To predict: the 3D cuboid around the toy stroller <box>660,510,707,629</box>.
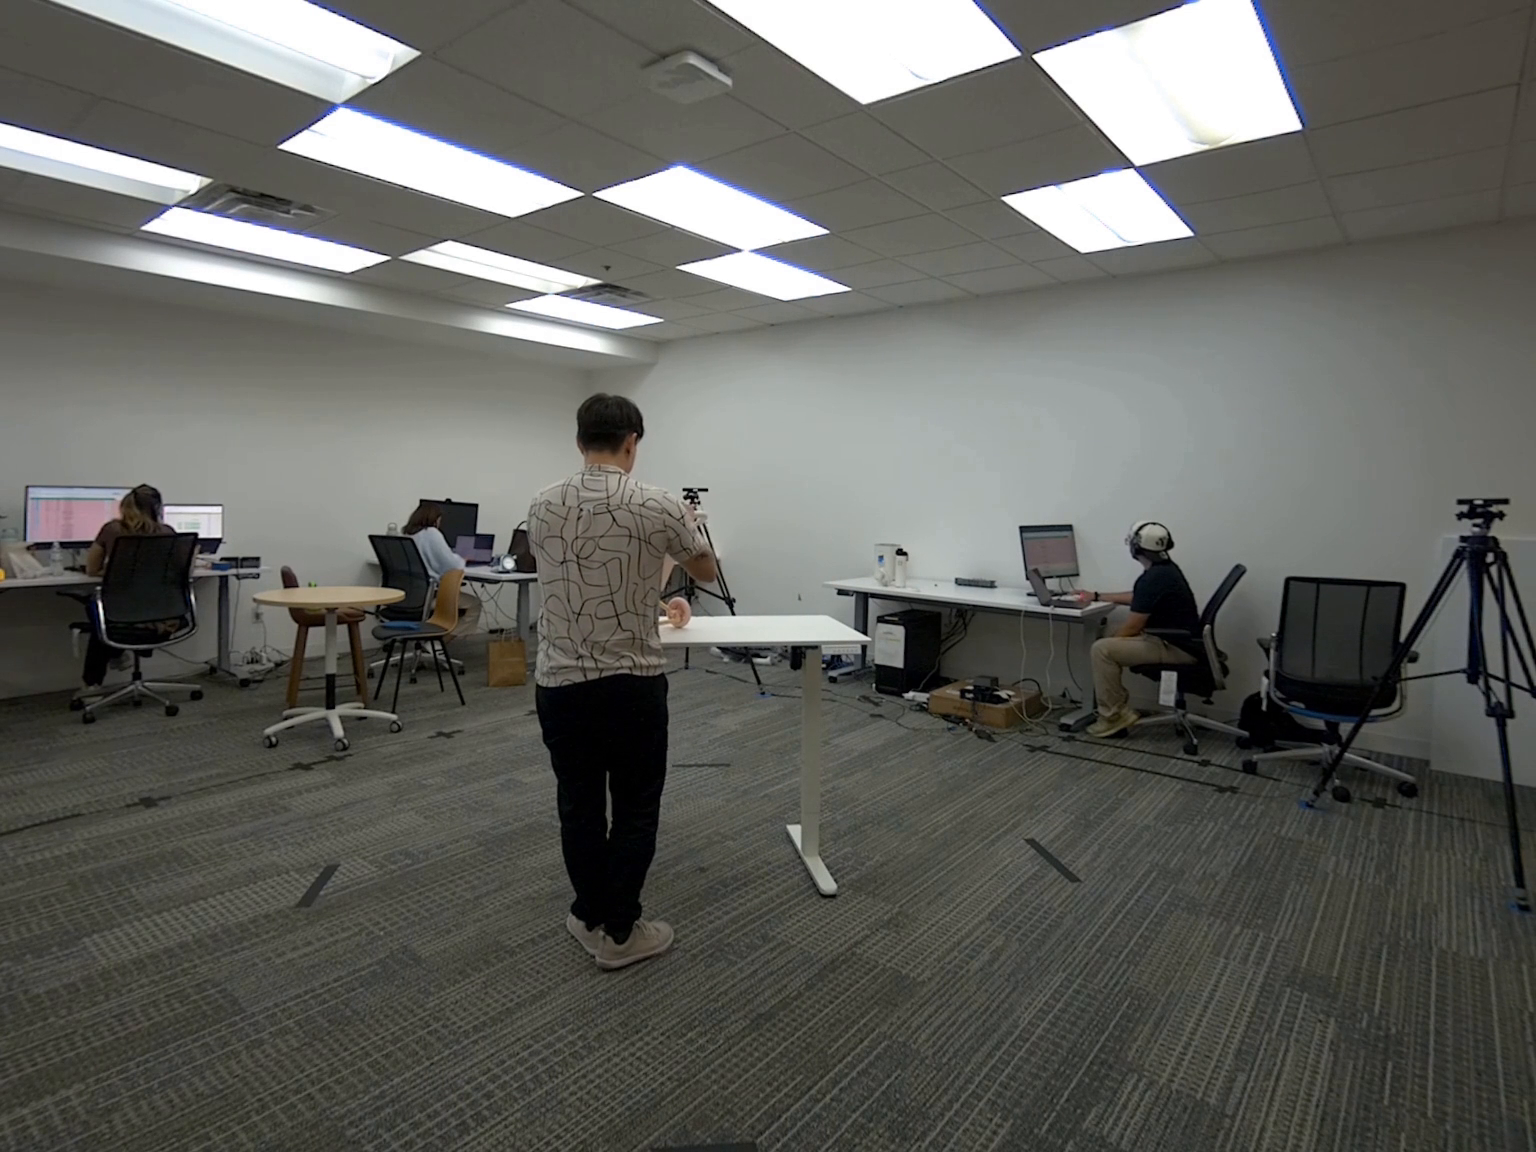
[{"bbox_3d":[-0.445,-0.031,3.027,0.355,0.530,0.273,23,16,35],"label":"toy stroller"}]
